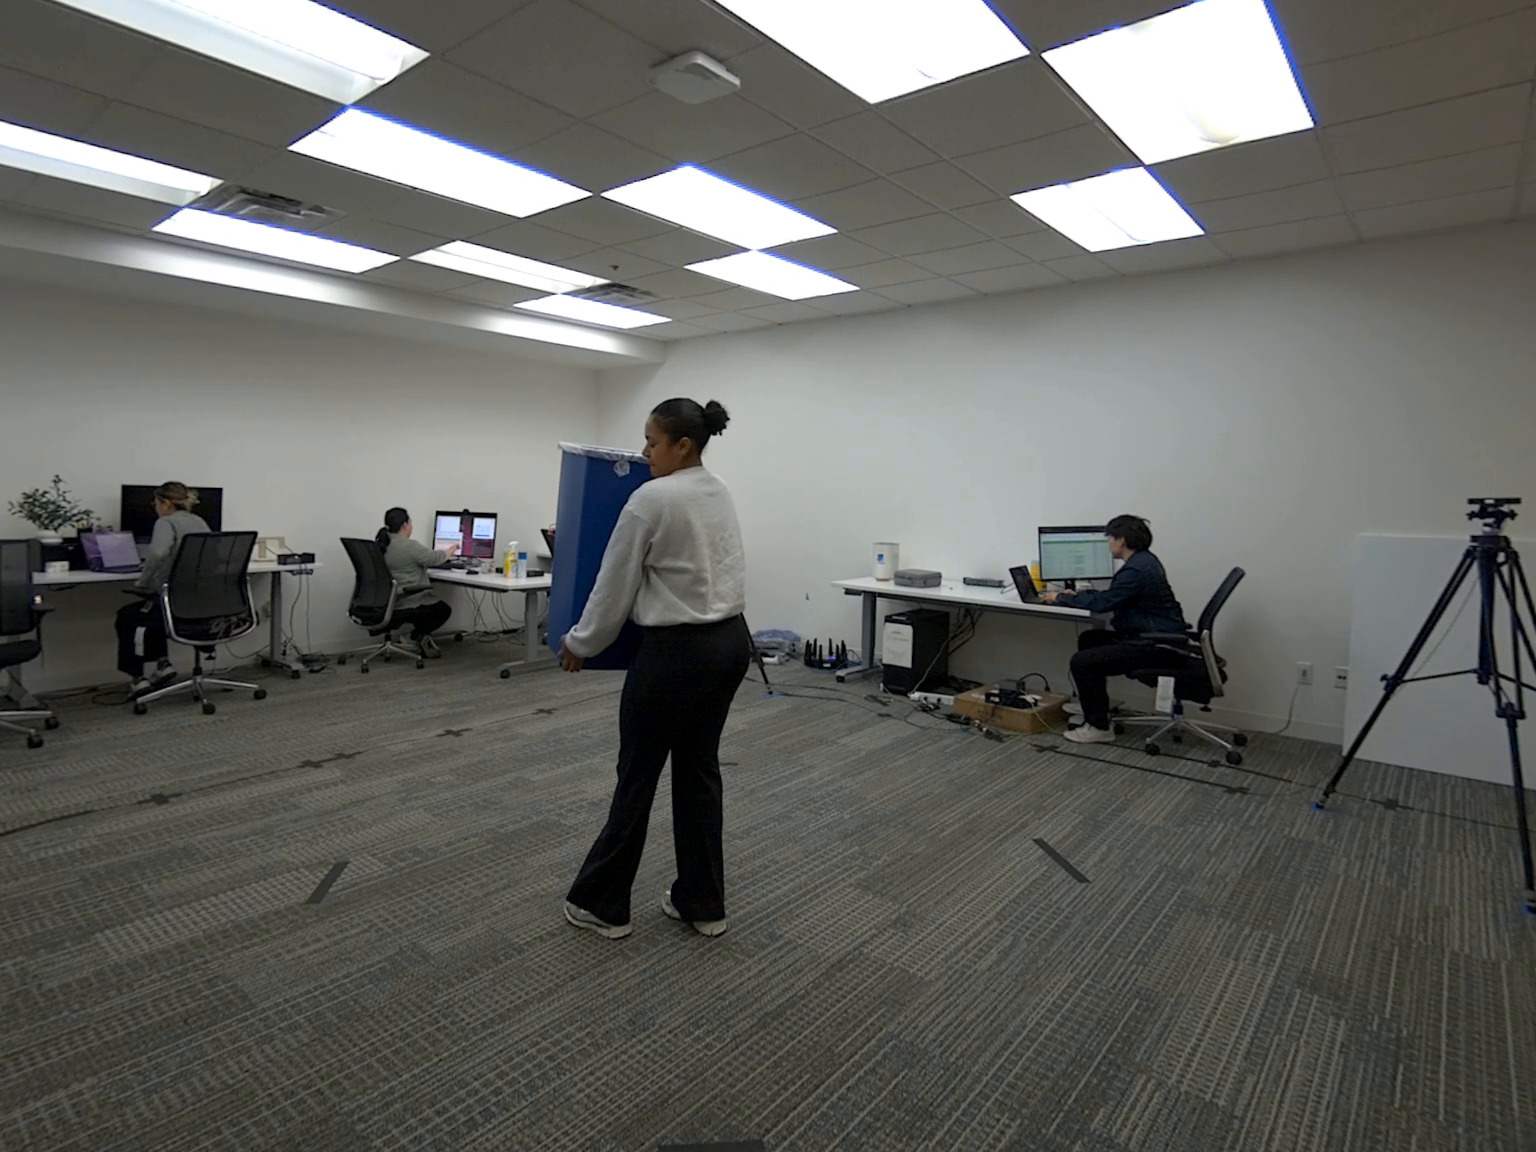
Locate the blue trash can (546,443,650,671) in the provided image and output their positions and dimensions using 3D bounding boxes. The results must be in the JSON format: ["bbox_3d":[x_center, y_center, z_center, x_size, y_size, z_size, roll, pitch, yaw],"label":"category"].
[{"bbox_3d":[-0.541,-0.076,2.897,0.364,0.710,0.391,4,7,-28],"label":"blue trash can"}]
